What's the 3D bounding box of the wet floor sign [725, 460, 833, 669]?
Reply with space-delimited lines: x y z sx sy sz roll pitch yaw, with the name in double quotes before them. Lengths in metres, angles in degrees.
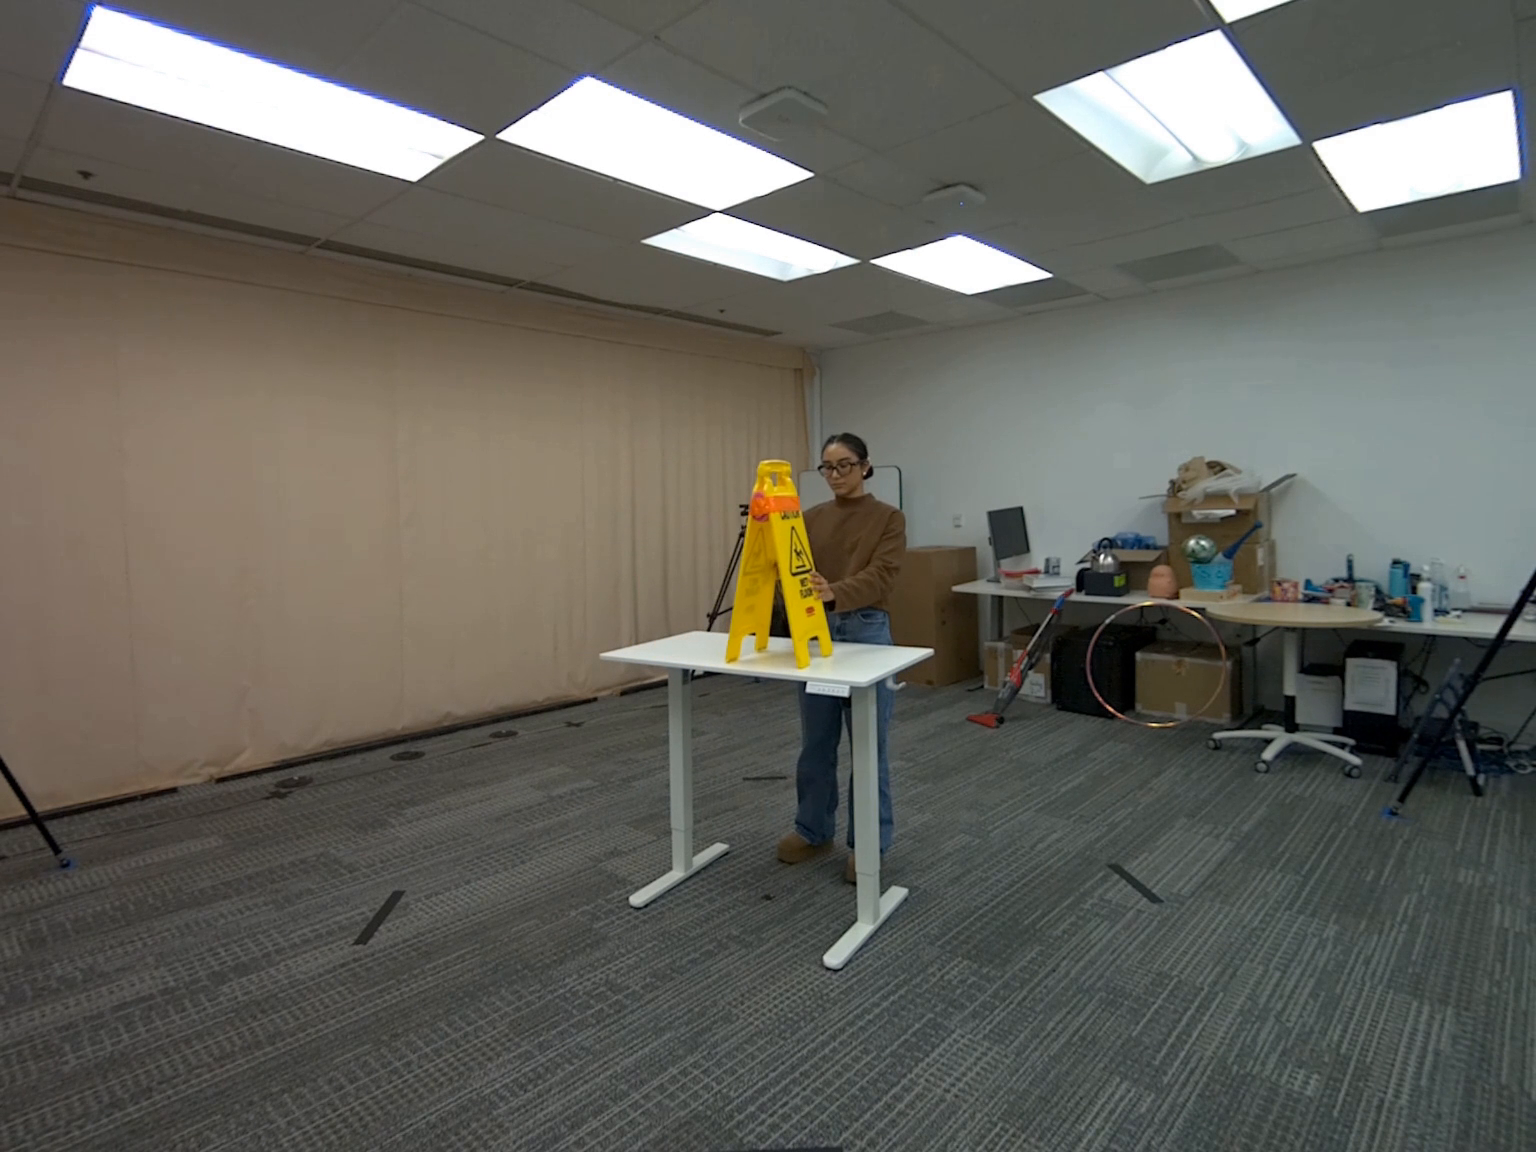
"wet floor sign" 0.037 -0.049 2.760 0.297 0.644 0.275 1 5 27
